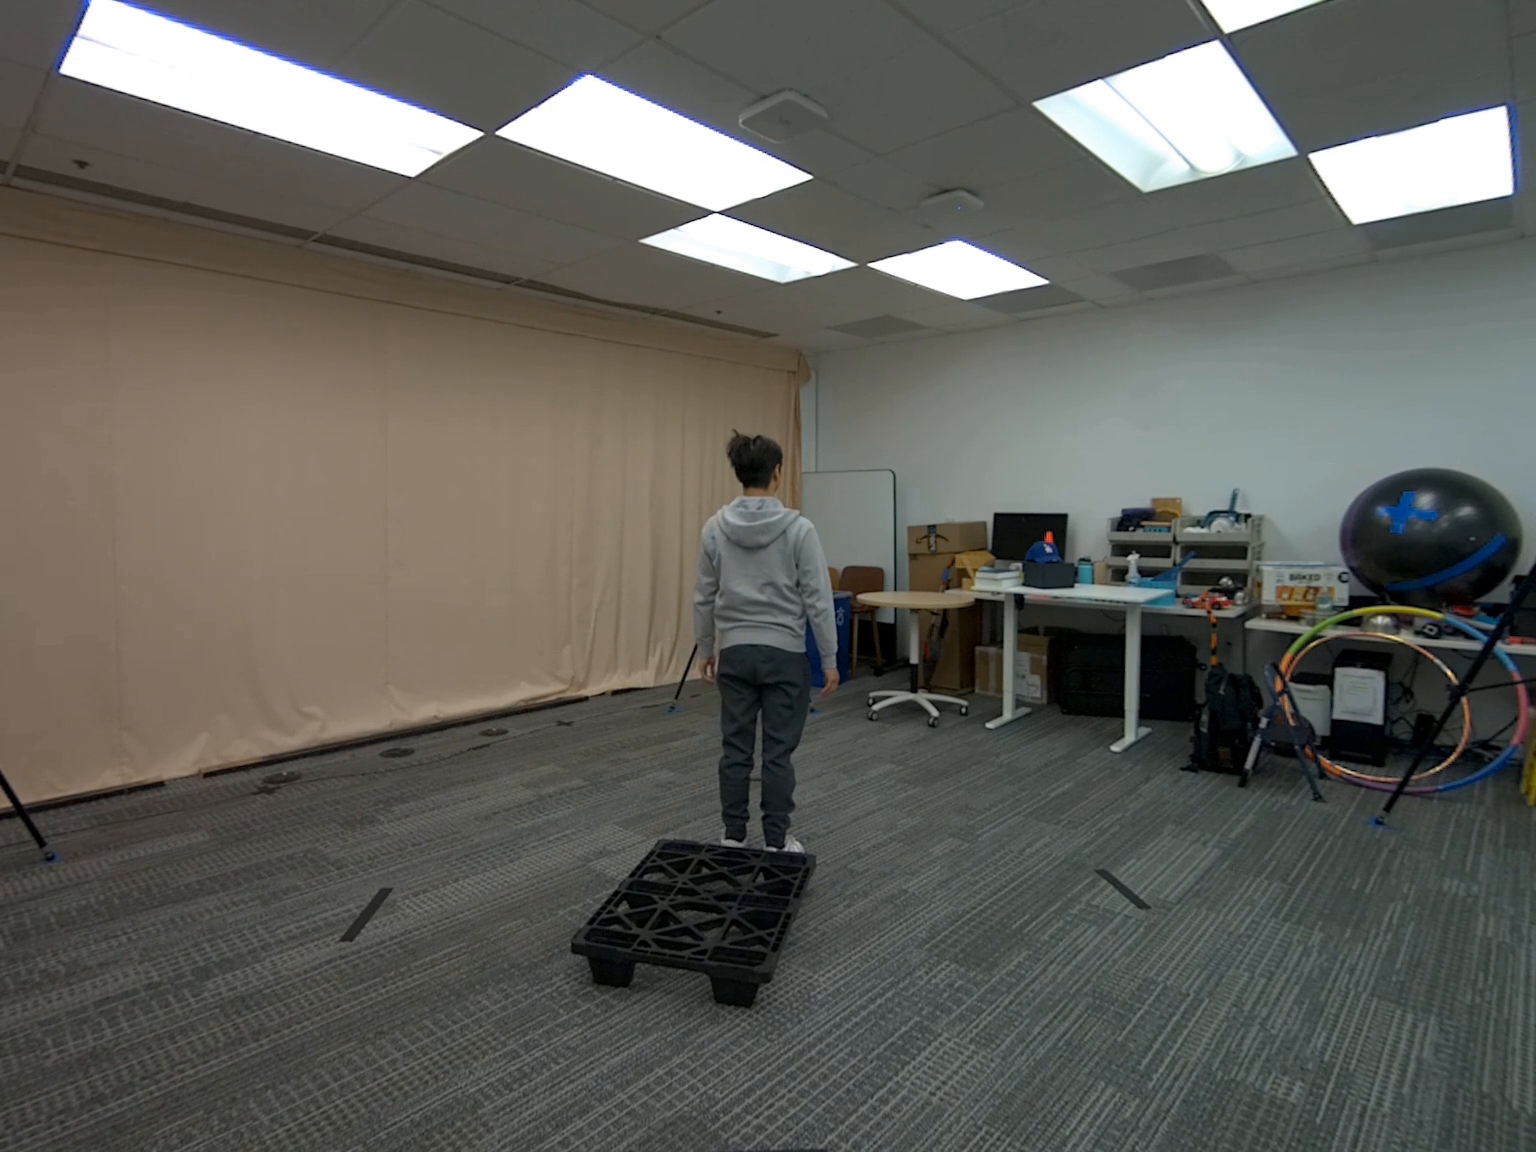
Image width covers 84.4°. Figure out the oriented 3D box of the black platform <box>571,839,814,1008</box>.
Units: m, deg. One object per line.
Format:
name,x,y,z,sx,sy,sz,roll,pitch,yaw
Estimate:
black platform,-0.196,1.098,2.743,0.615,0.143,0.795,1,5,13
